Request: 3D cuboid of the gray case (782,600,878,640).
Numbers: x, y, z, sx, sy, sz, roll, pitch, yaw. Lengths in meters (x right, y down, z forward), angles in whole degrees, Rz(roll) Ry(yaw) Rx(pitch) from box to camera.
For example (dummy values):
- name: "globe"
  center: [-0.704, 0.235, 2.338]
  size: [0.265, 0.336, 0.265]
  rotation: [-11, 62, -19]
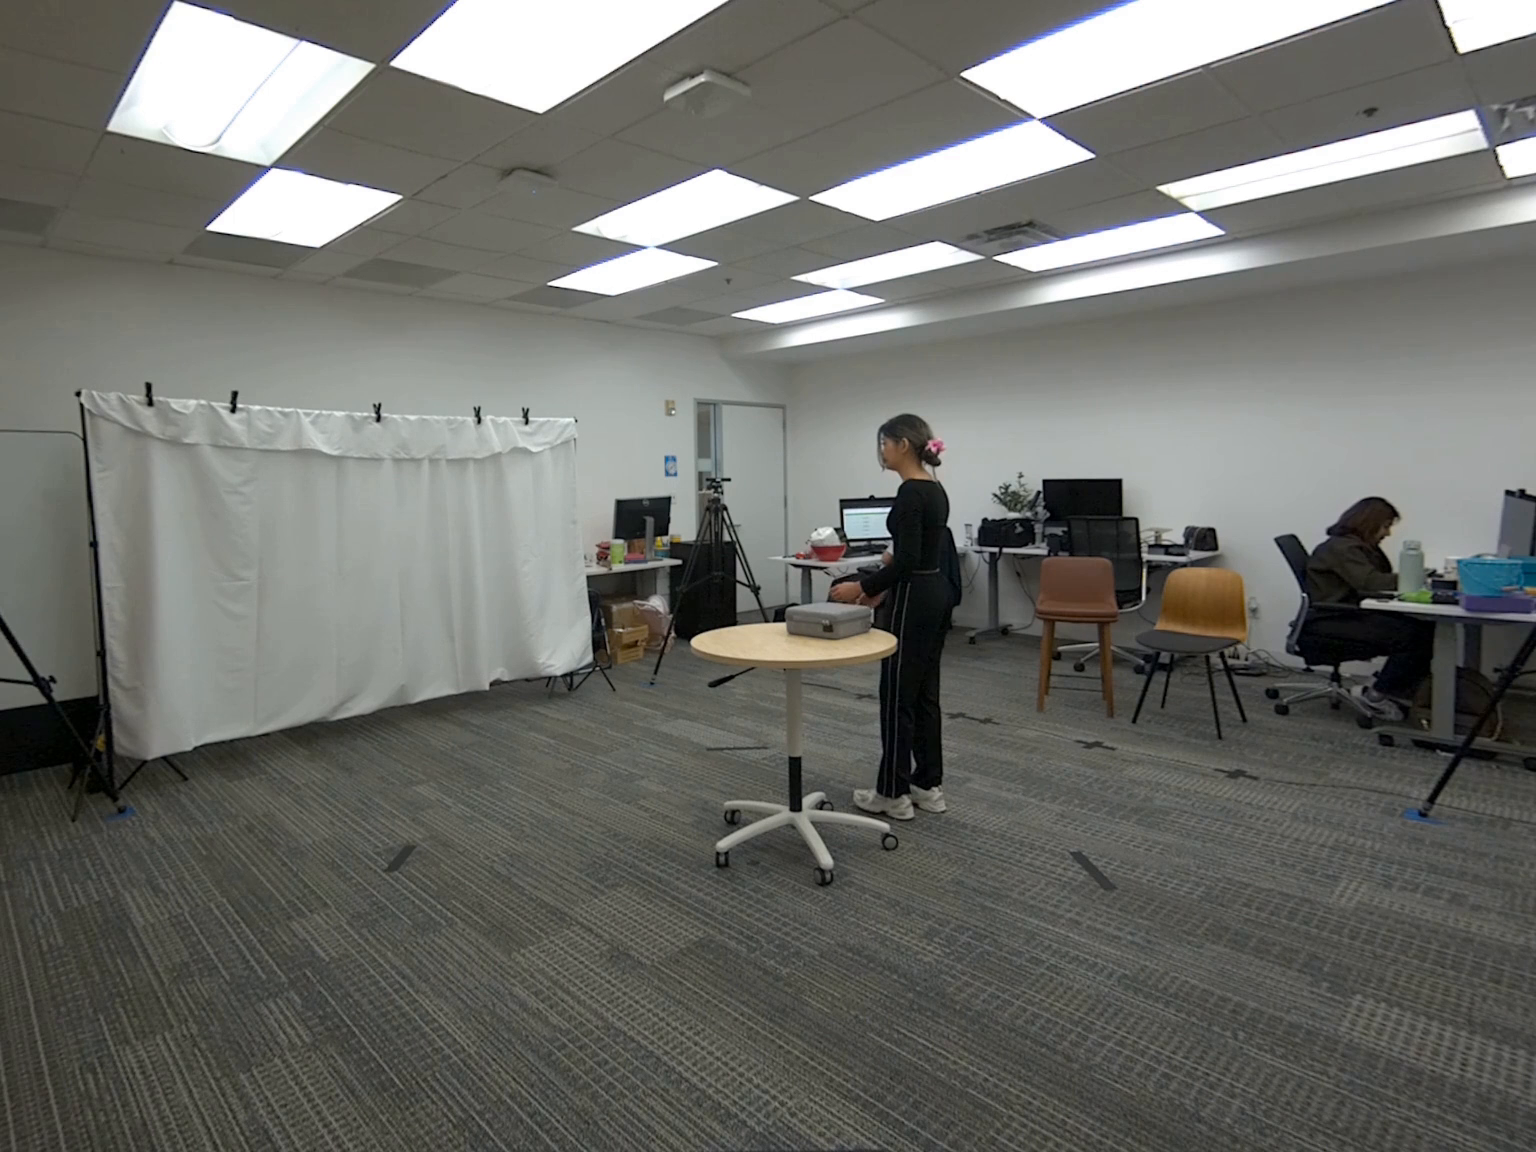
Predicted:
- name: "gray case"
  center: [0.238, 0.164, 3.304]
  size: [0.264, 0.104, 0.253]
  rotation: [2, 5, 42]
